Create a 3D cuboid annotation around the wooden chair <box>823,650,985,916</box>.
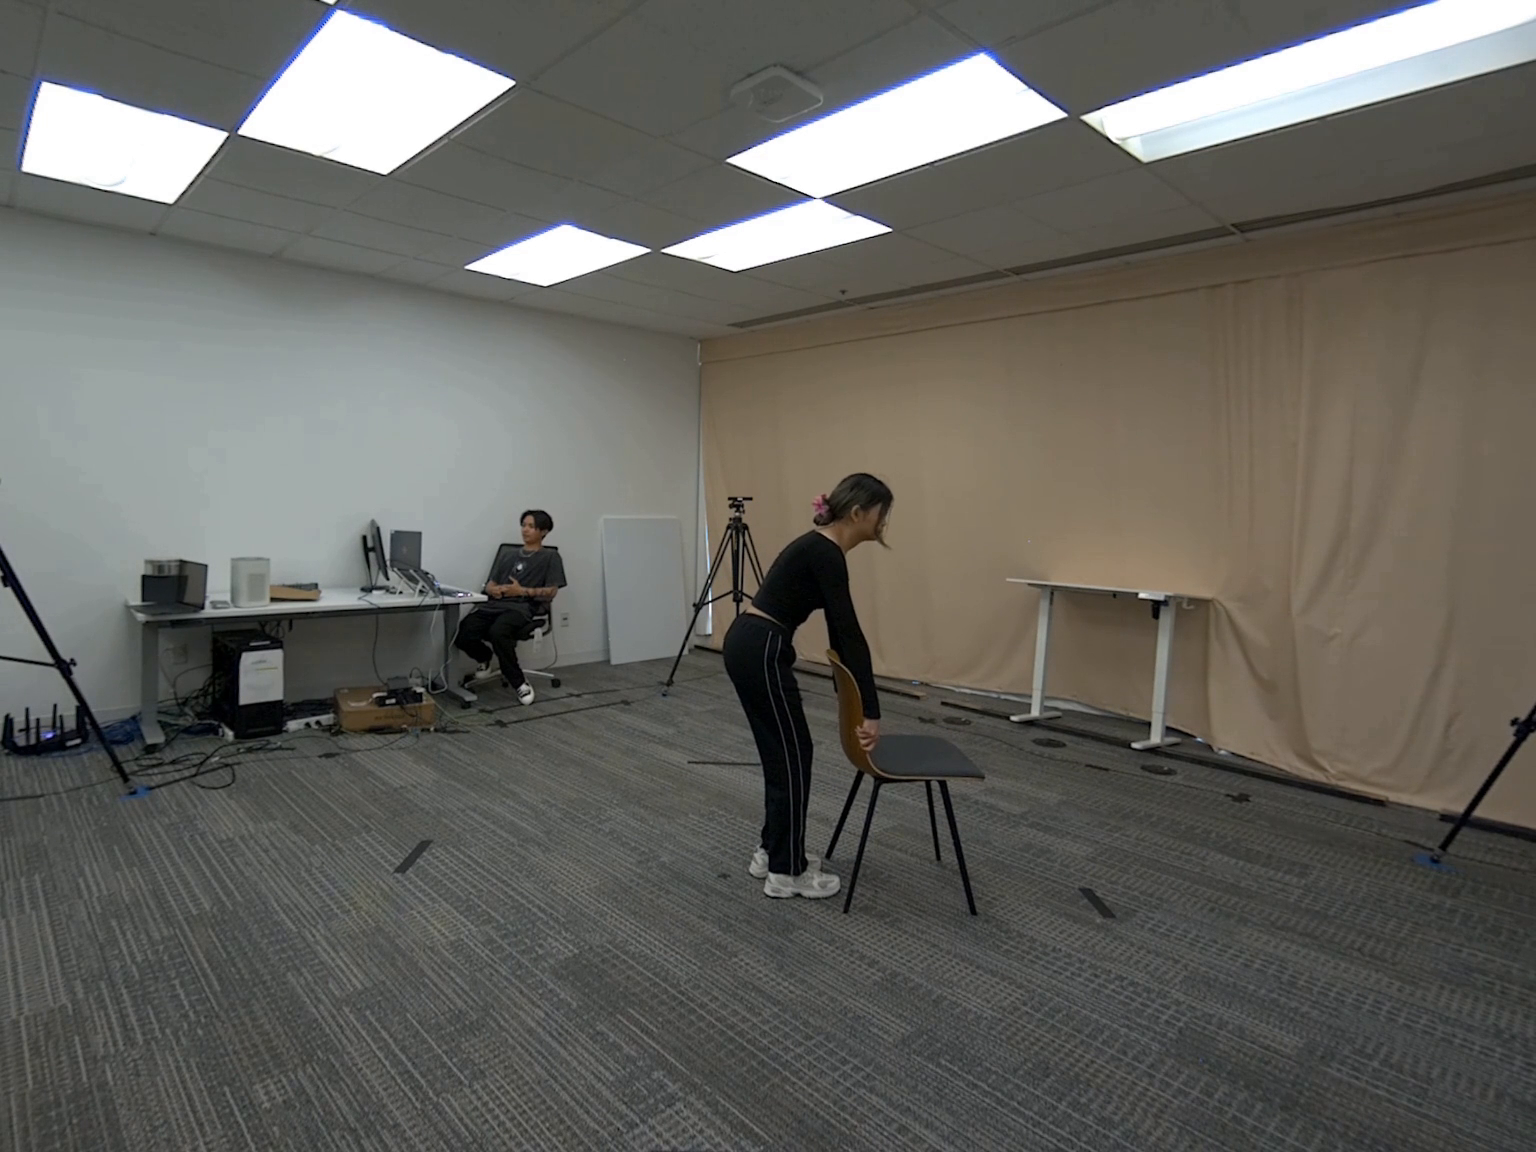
[{"bbox_3d":[0.481,0.700,3.041,0.522,0.876,0.480,-2,3,-3],"label":"wooden chair"}]
